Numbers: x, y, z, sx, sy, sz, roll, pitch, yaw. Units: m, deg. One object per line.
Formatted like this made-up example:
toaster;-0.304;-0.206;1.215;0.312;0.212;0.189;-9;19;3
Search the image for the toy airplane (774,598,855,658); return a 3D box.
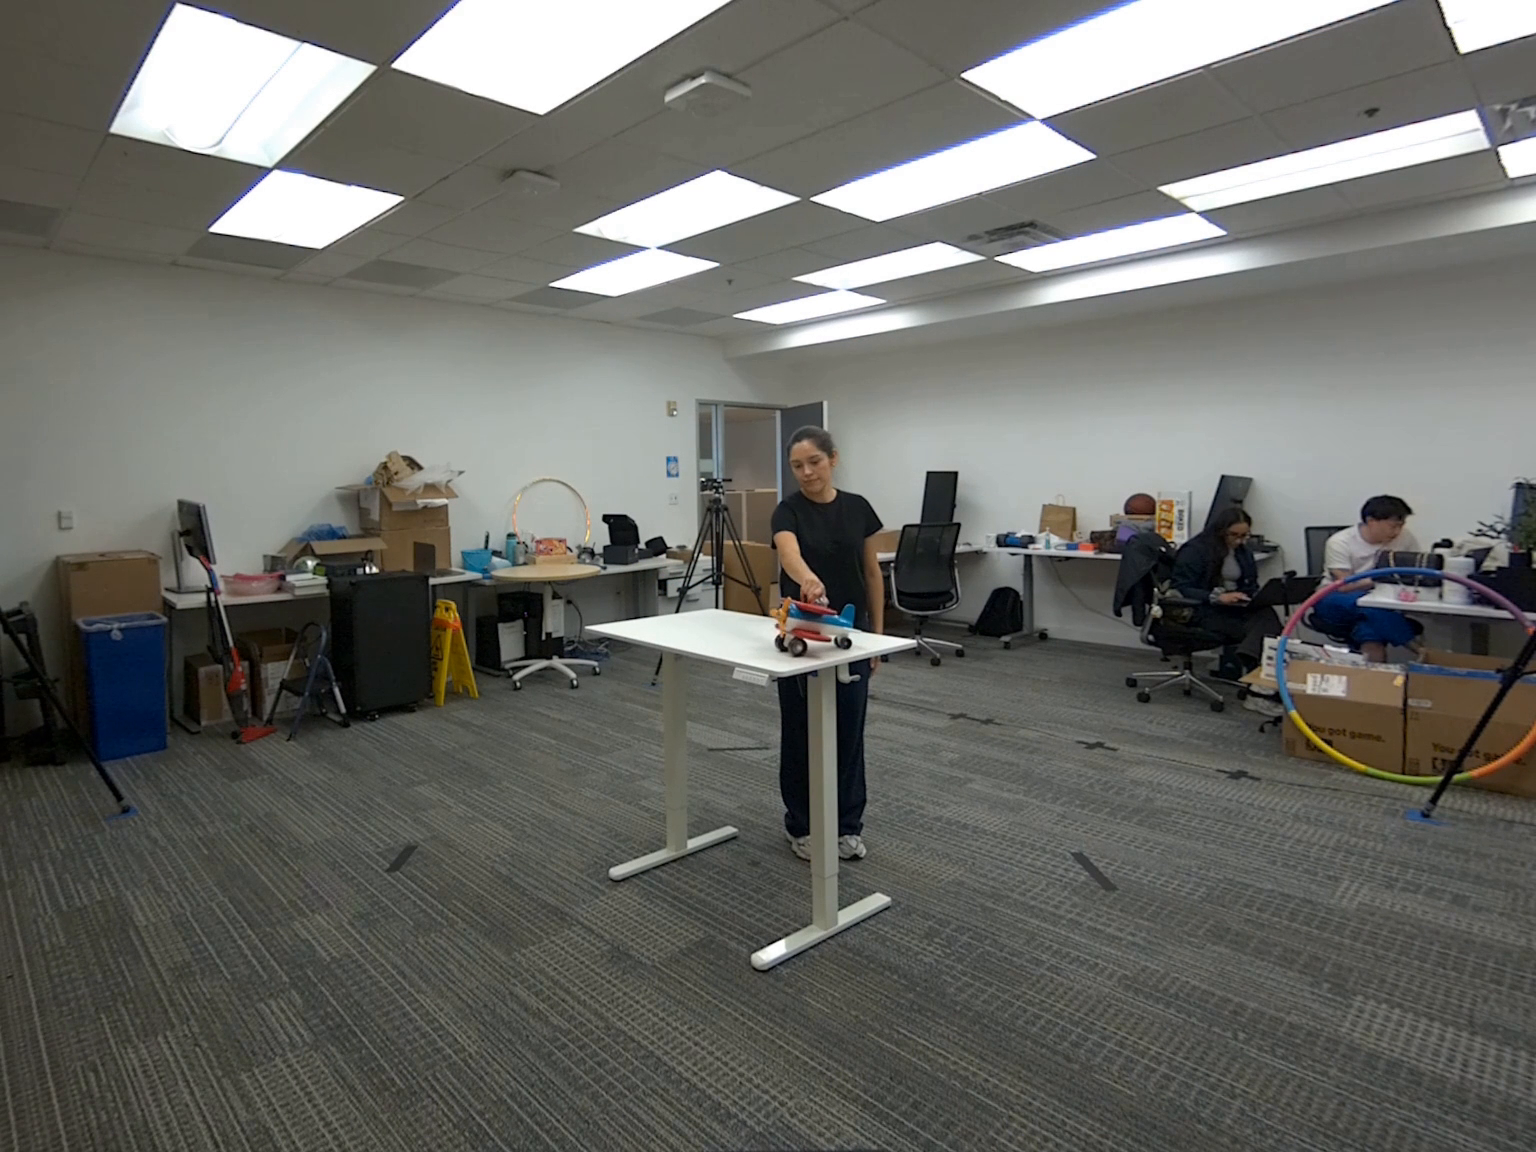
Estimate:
toy airplane;0.137;0.143;2.562;0.258;0.156;0.253;3;8;37
